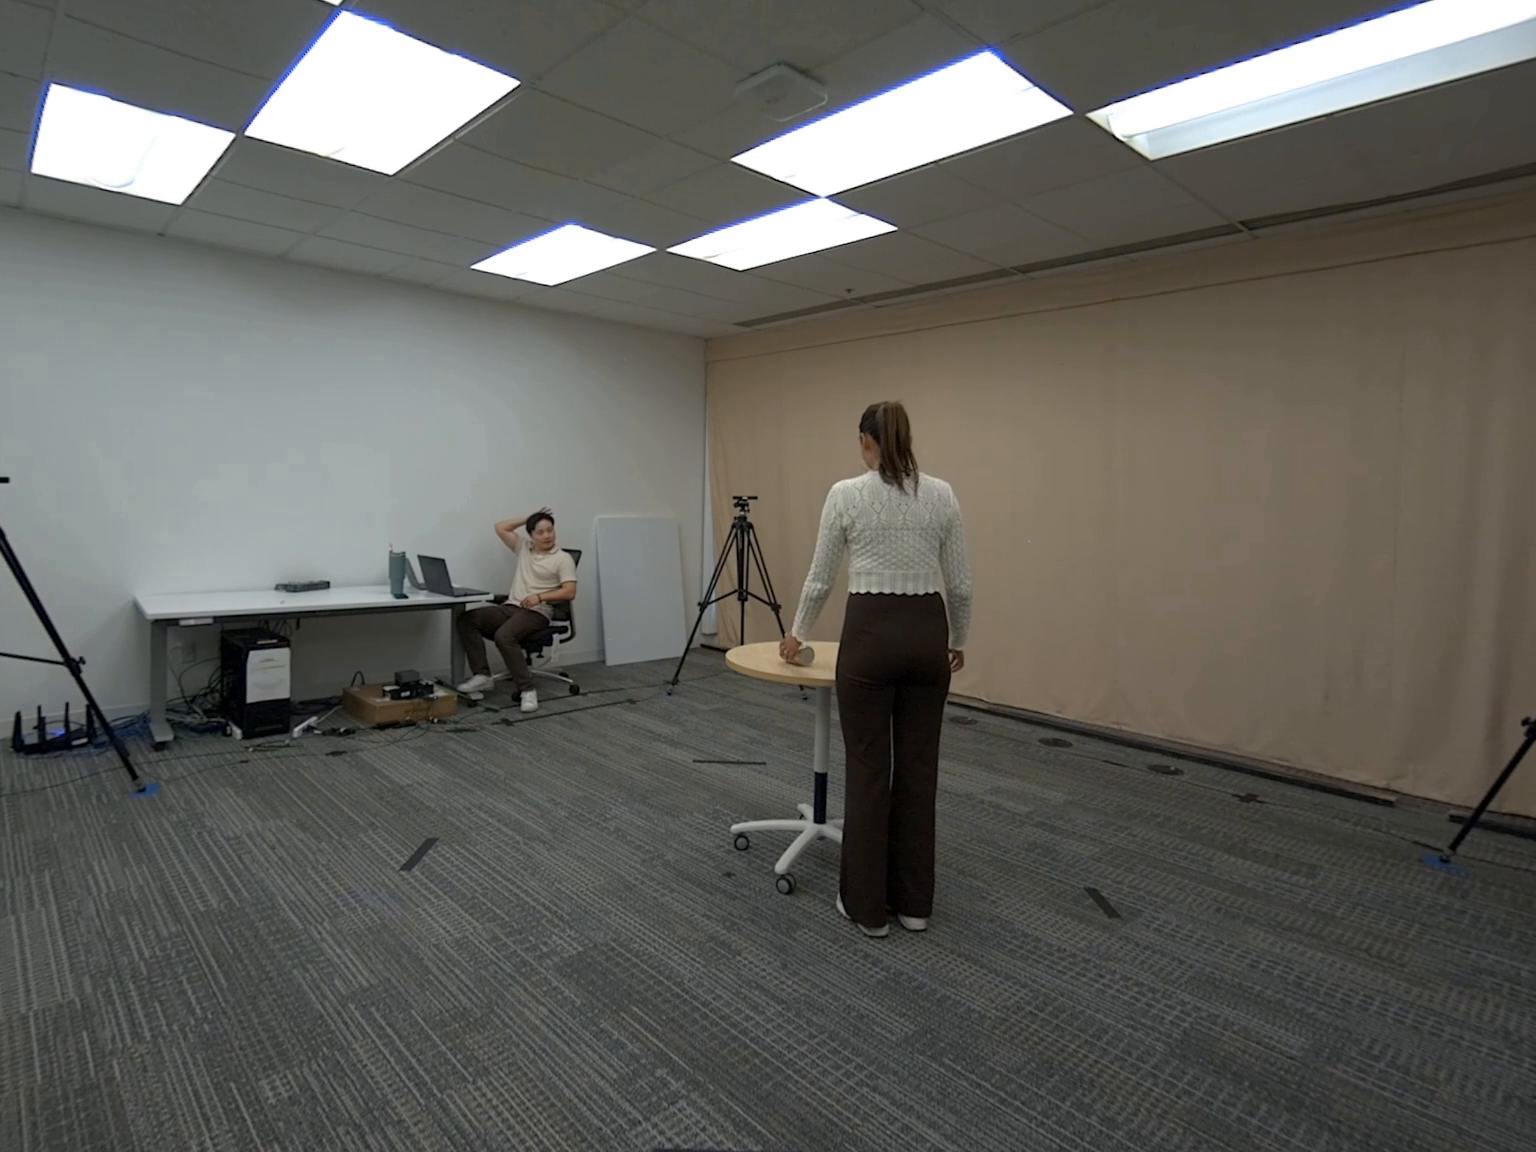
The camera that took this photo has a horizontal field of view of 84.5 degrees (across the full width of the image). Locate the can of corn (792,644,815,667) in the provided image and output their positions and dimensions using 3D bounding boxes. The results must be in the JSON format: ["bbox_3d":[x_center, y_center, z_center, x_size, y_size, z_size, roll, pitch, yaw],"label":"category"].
[{"bbox_3d":[0.106,0.287,3.111,0.072,0.074,0.114,-1,8,-33],"label":"can of corn"}]
